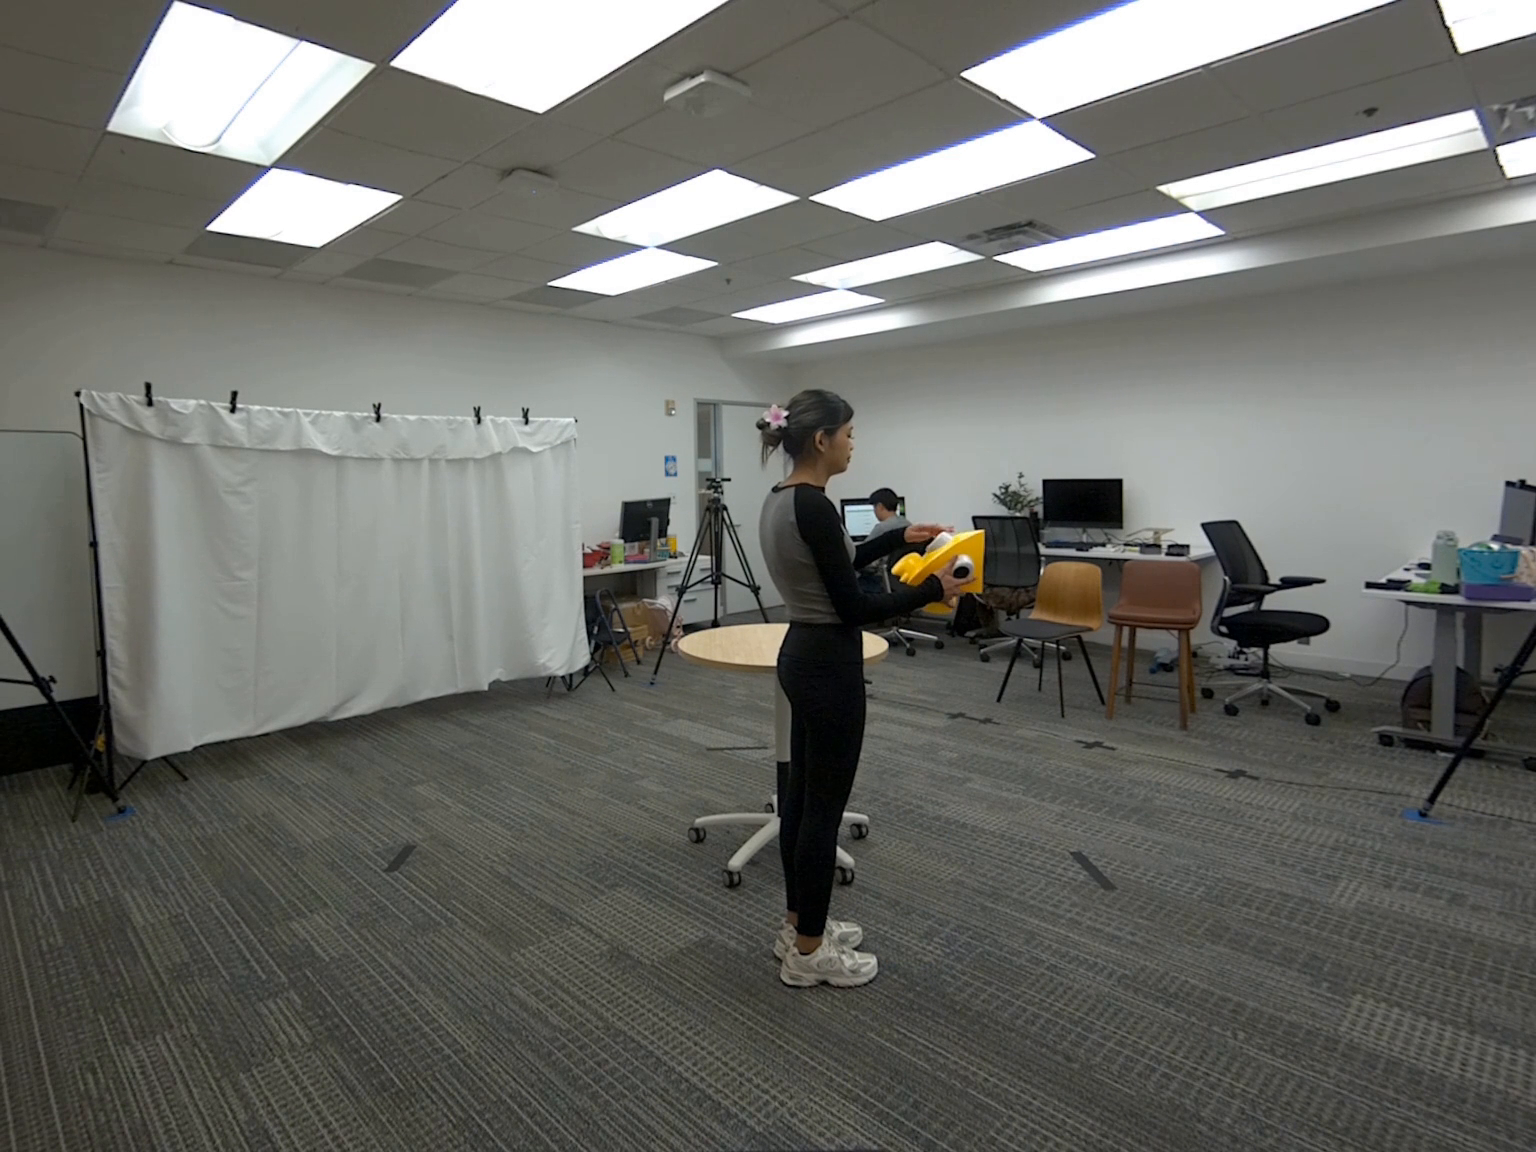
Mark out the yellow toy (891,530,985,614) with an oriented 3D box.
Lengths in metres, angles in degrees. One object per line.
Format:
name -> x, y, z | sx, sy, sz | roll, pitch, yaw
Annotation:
yellow toy -> 0.507, -0.046, 2.415 | 0.188, 0.229, 0.212 | -2, 47, -37
